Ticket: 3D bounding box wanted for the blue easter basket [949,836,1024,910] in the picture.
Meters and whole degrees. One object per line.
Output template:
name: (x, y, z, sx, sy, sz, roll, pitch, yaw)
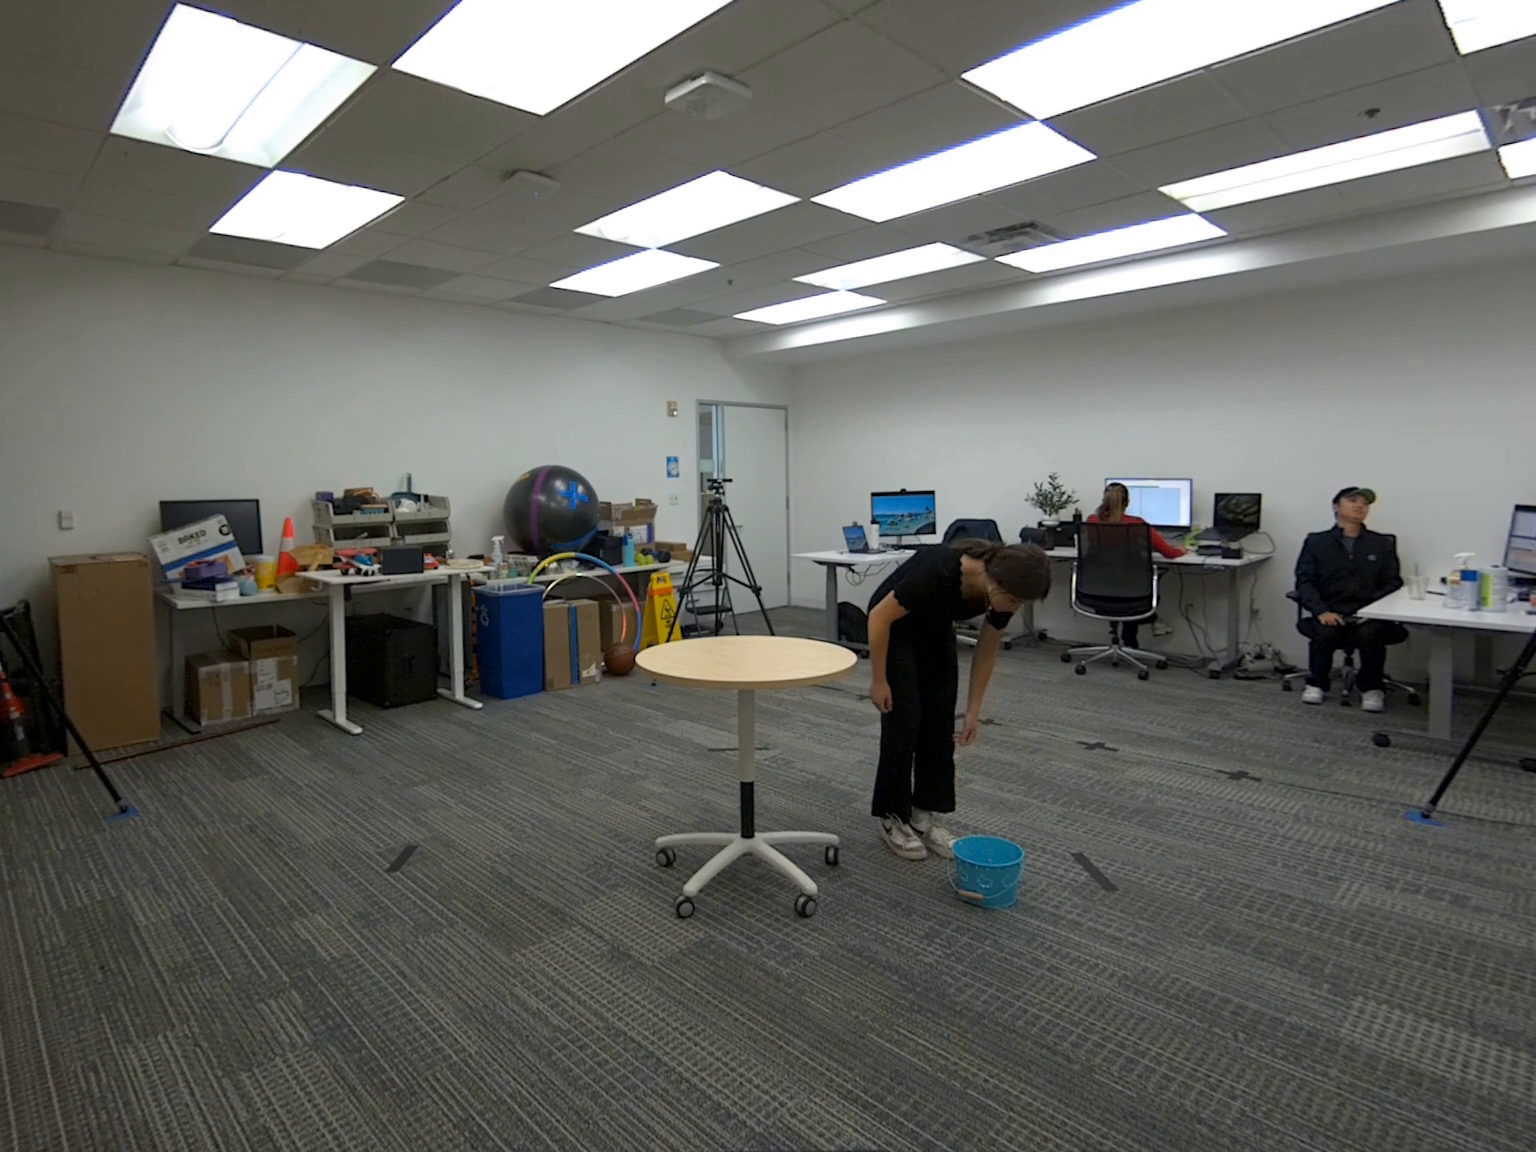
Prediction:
blue easter basket: (0.731, 0.987, 2.848, 0.243, 0.155, 0.245, -2, 6, -2)
